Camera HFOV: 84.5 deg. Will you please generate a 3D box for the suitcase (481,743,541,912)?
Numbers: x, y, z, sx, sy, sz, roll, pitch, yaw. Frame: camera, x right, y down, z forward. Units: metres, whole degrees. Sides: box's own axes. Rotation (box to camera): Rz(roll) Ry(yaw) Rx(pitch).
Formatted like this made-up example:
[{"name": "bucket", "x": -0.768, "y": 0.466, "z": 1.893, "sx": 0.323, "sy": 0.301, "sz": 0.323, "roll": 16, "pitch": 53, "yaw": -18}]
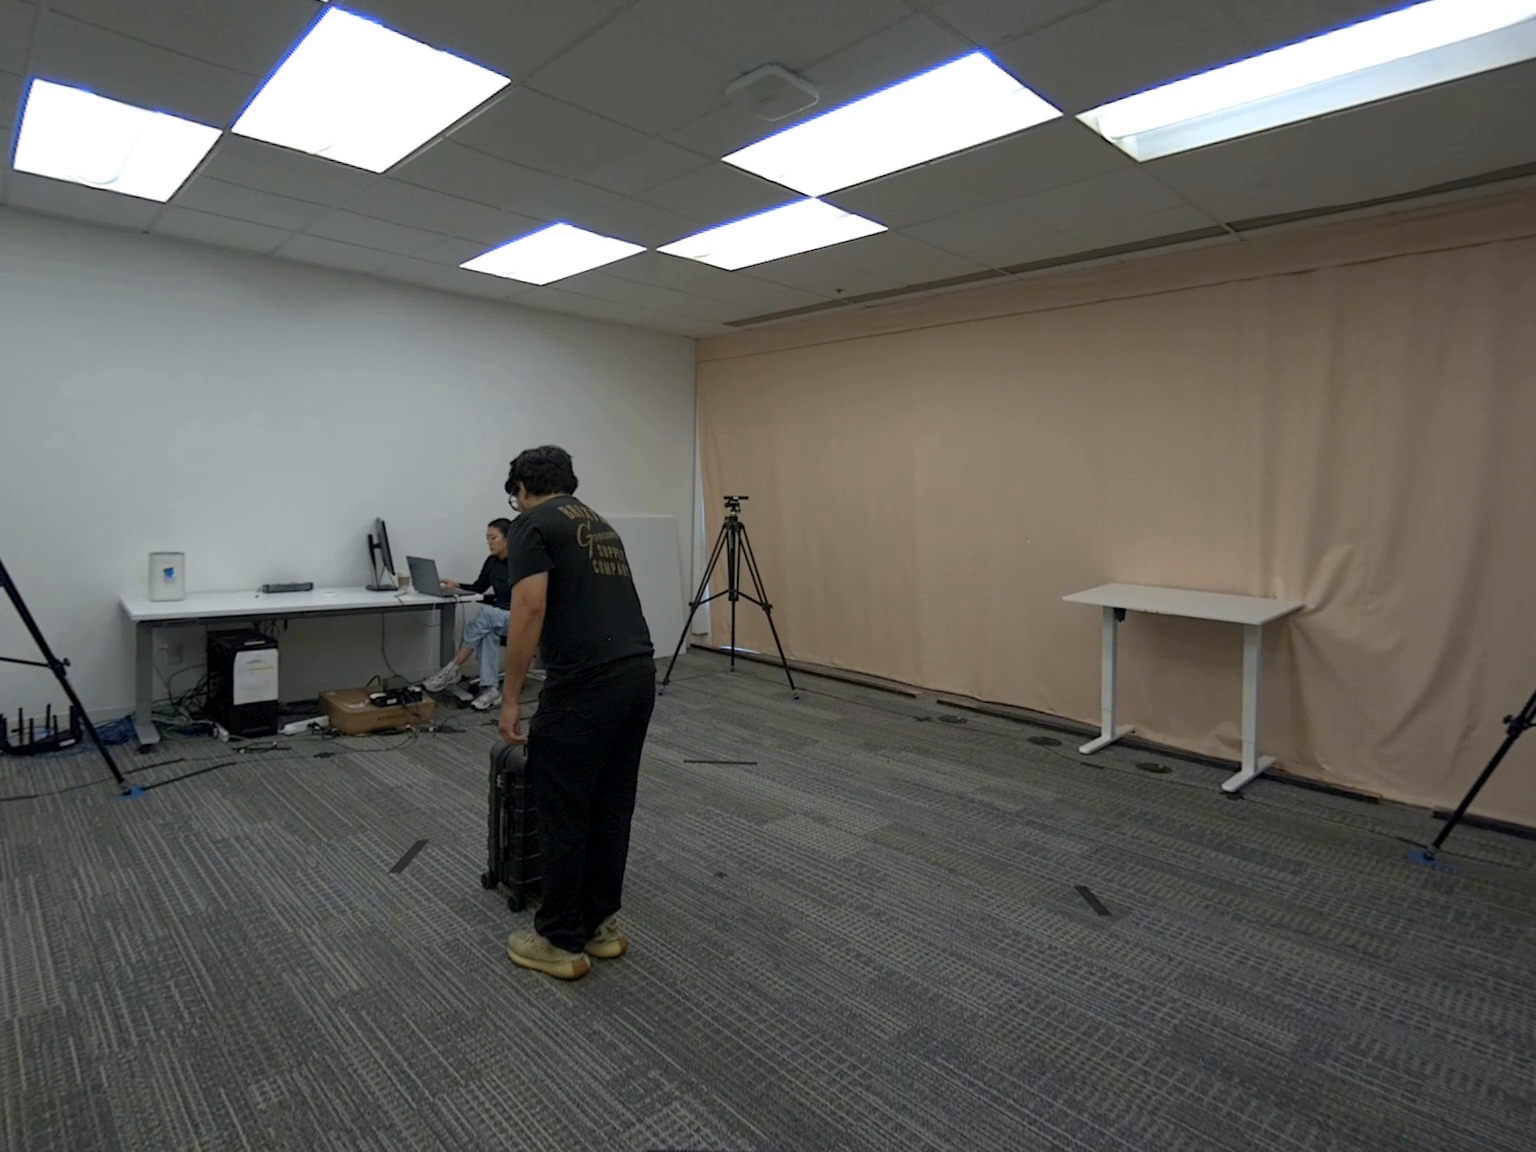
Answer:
[{"name": "suitcase", "x": -0.789, "y": 0.829, "z": 2.954, "sx": 0.367, "sy": 0.547, "sz": 0.255, "roll": -2, "pitch": 6, "yaw": -42}]
